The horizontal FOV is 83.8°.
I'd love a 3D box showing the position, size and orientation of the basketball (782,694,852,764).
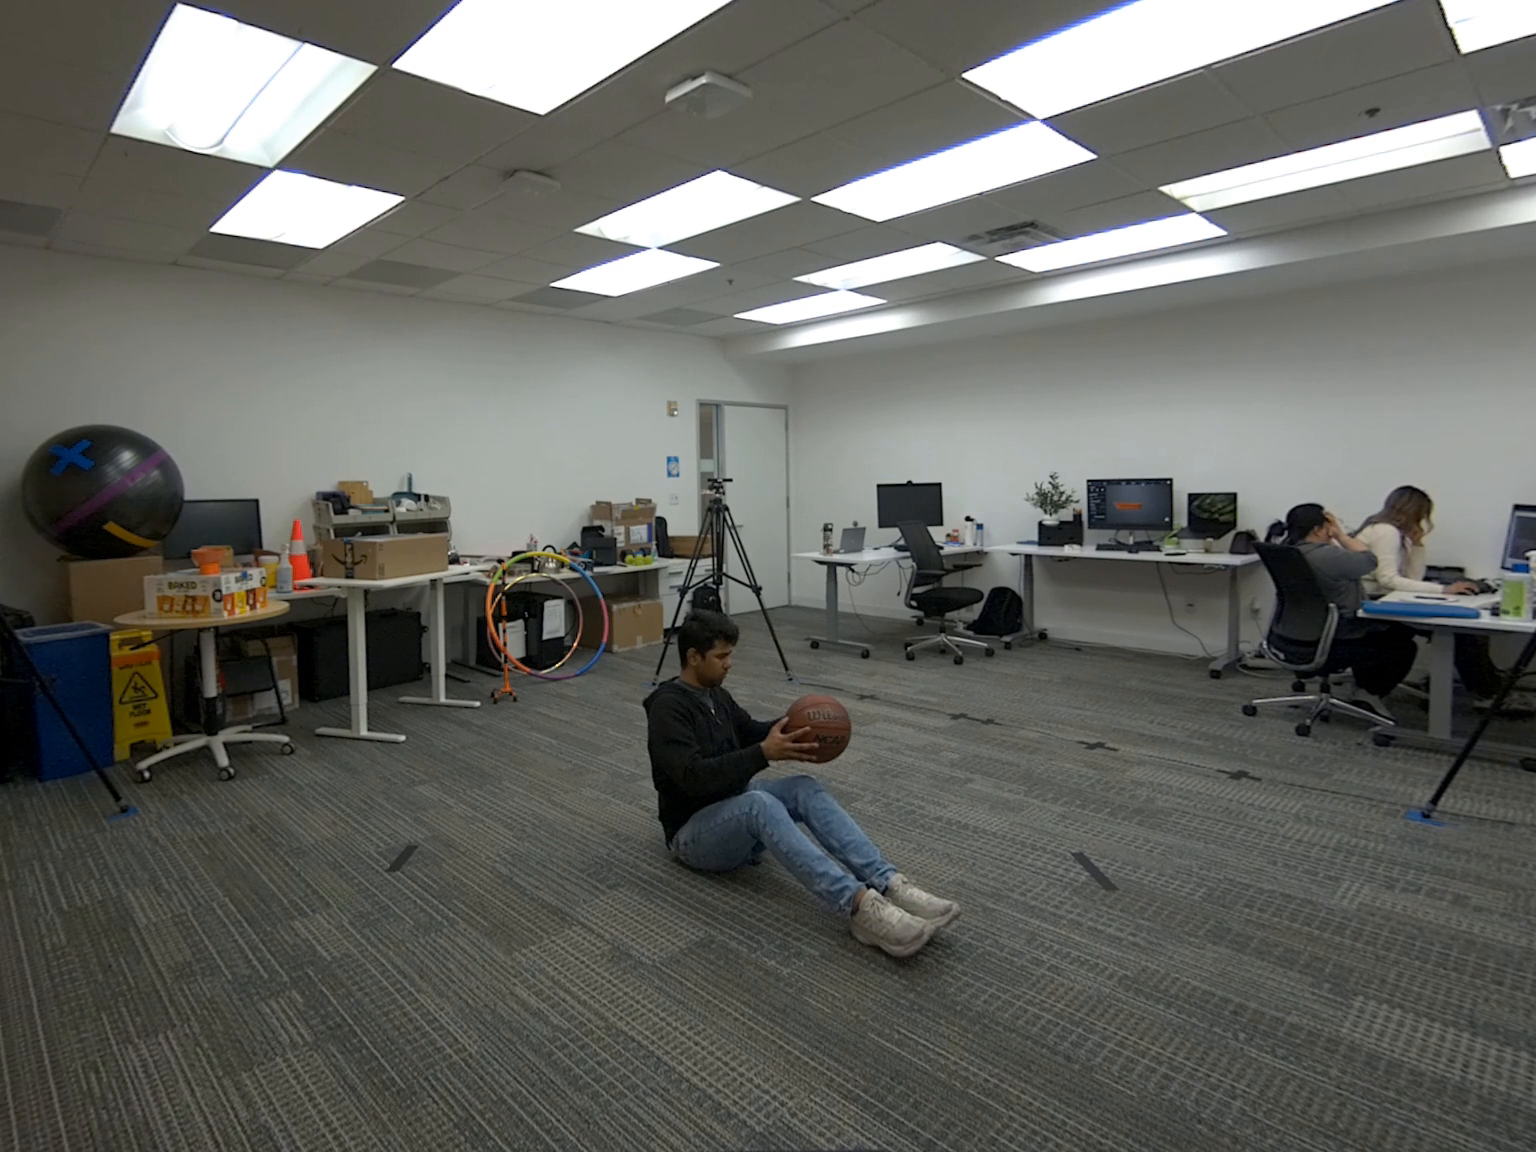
[{"bbox_3d":[0.156,0.548,2.991,0.236,0.235,0.237,-1,5,-2],"label":"basketball"}]
